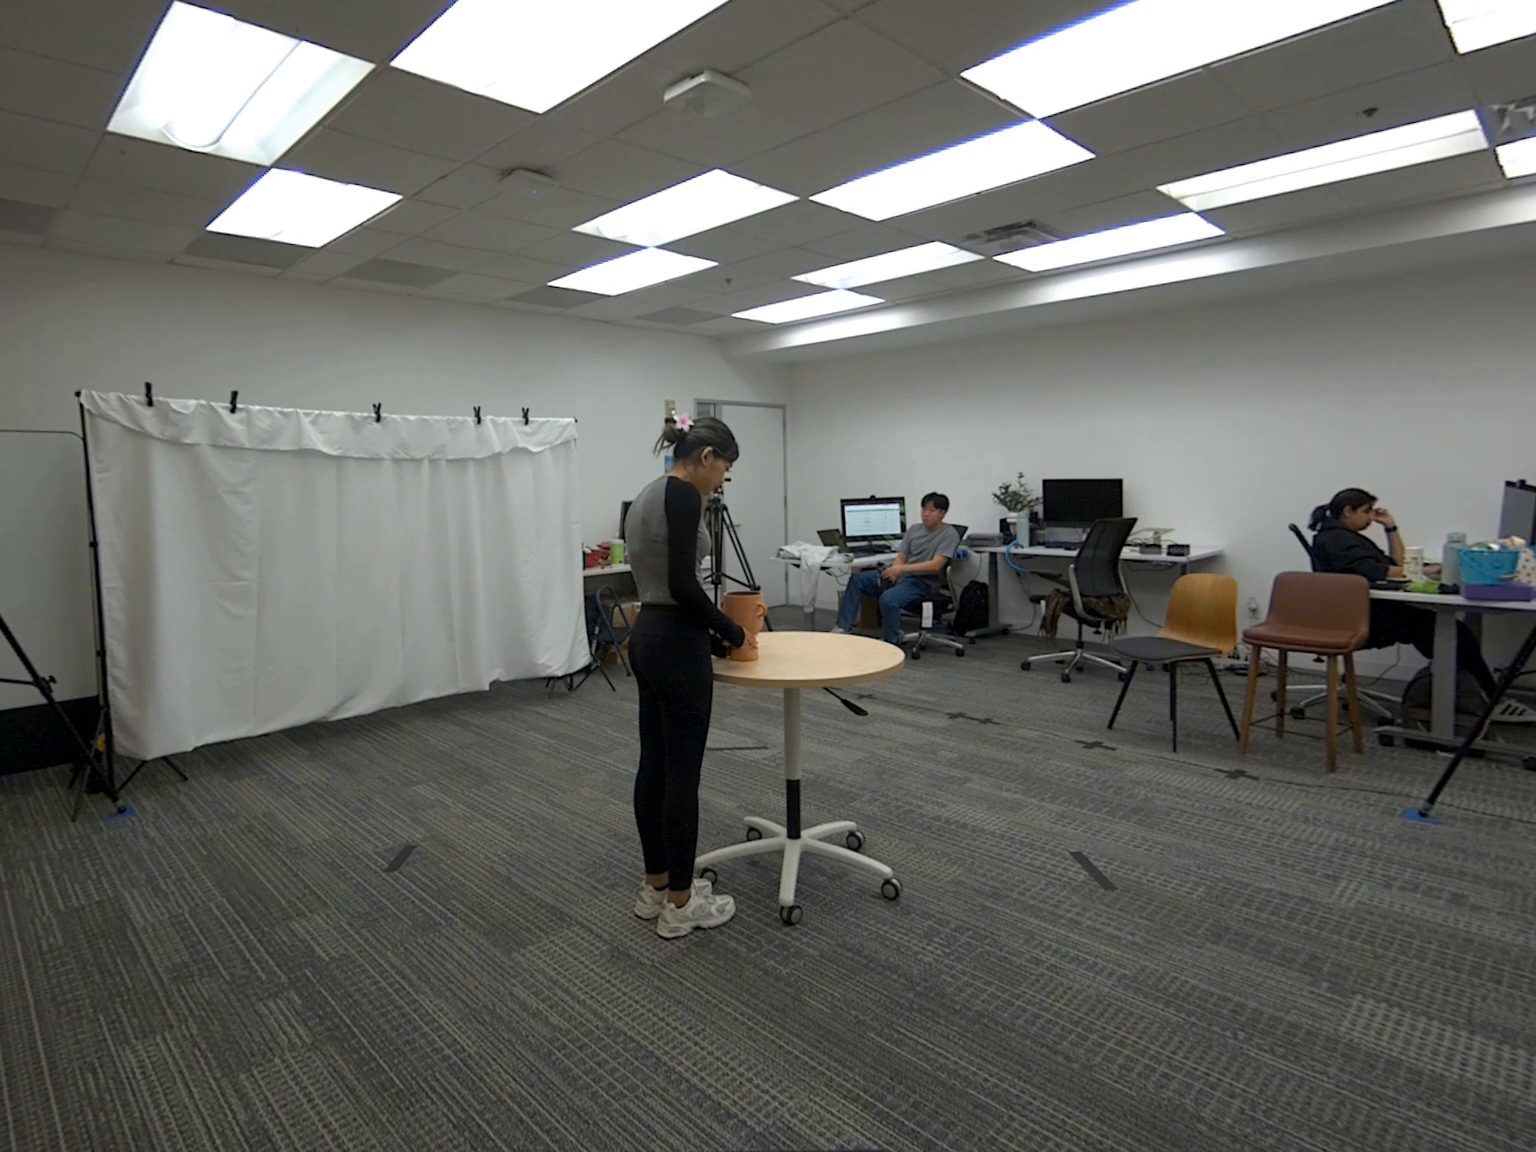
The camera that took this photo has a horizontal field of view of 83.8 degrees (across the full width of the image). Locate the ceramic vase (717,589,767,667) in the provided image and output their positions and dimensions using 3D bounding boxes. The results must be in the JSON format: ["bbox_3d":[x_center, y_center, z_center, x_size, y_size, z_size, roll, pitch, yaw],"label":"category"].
[{"bbox_3d":[-0.091,0.168,2.860,0.133,0.218,0.162,-1,9,-12],"label":"ceramic vase"}]
